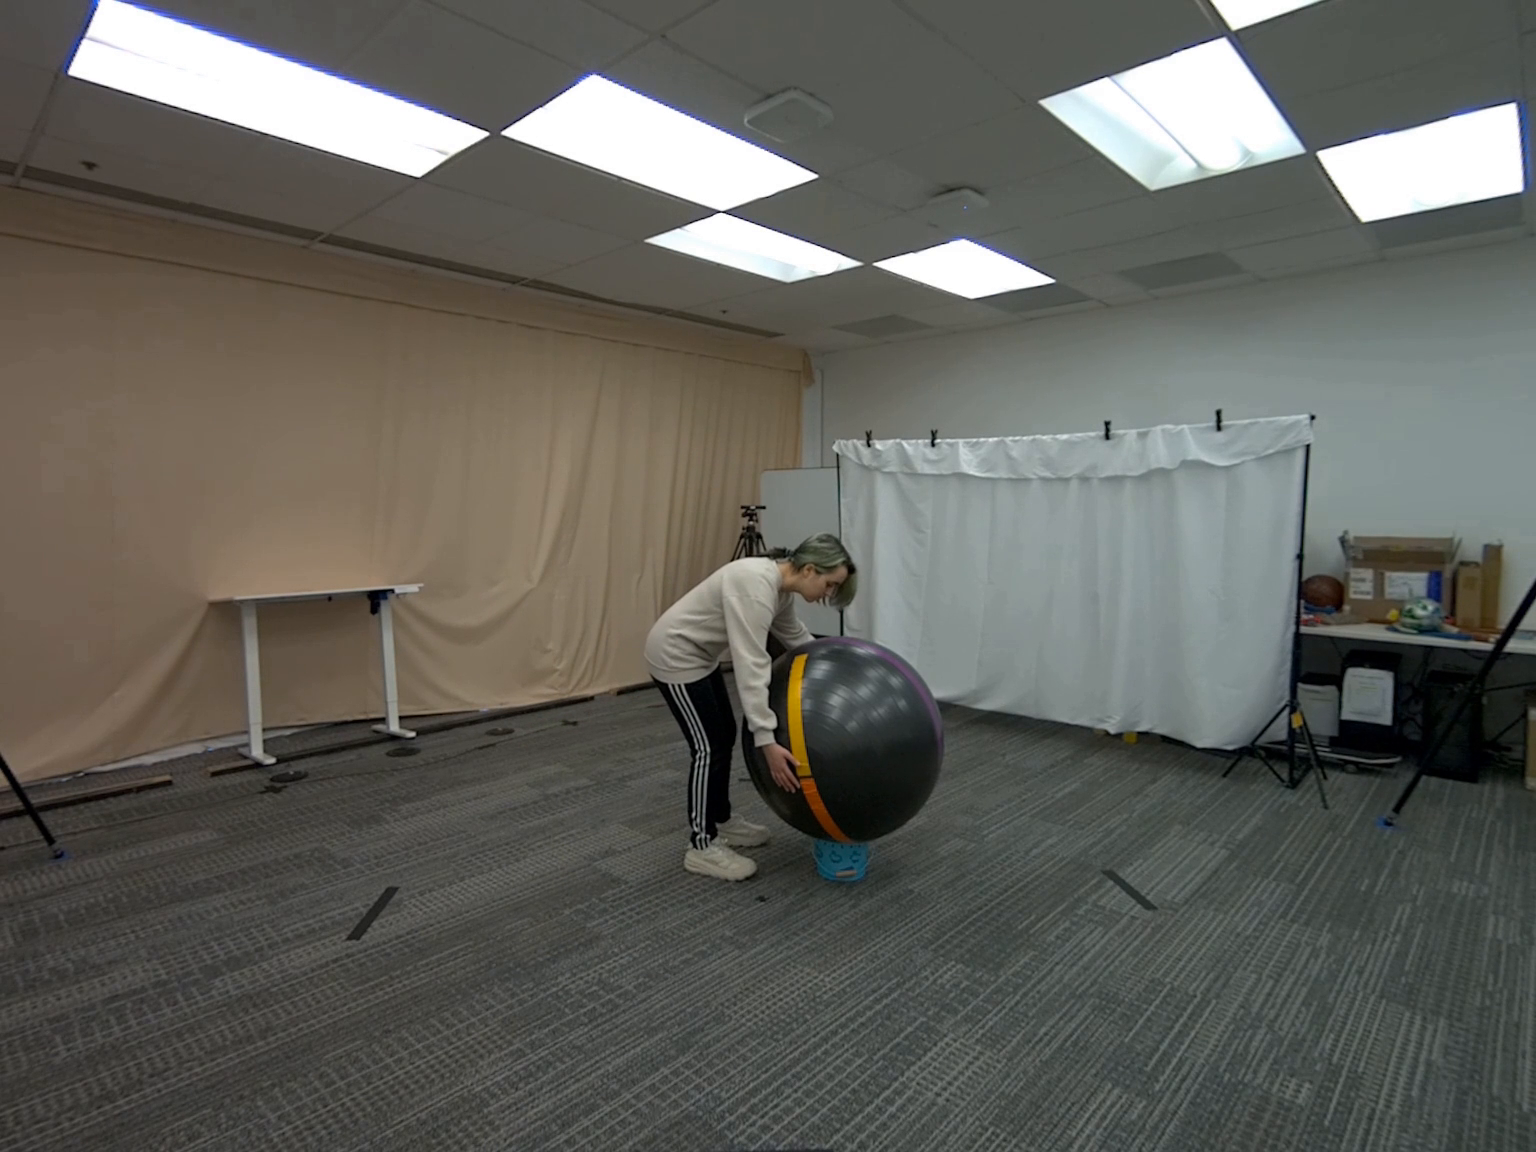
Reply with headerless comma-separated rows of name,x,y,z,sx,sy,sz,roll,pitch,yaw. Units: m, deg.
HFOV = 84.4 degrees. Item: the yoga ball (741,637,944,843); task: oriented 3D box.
yoga ball,0.282,0.617,3.192,0.757,0.756,0.761,0,4,-2
